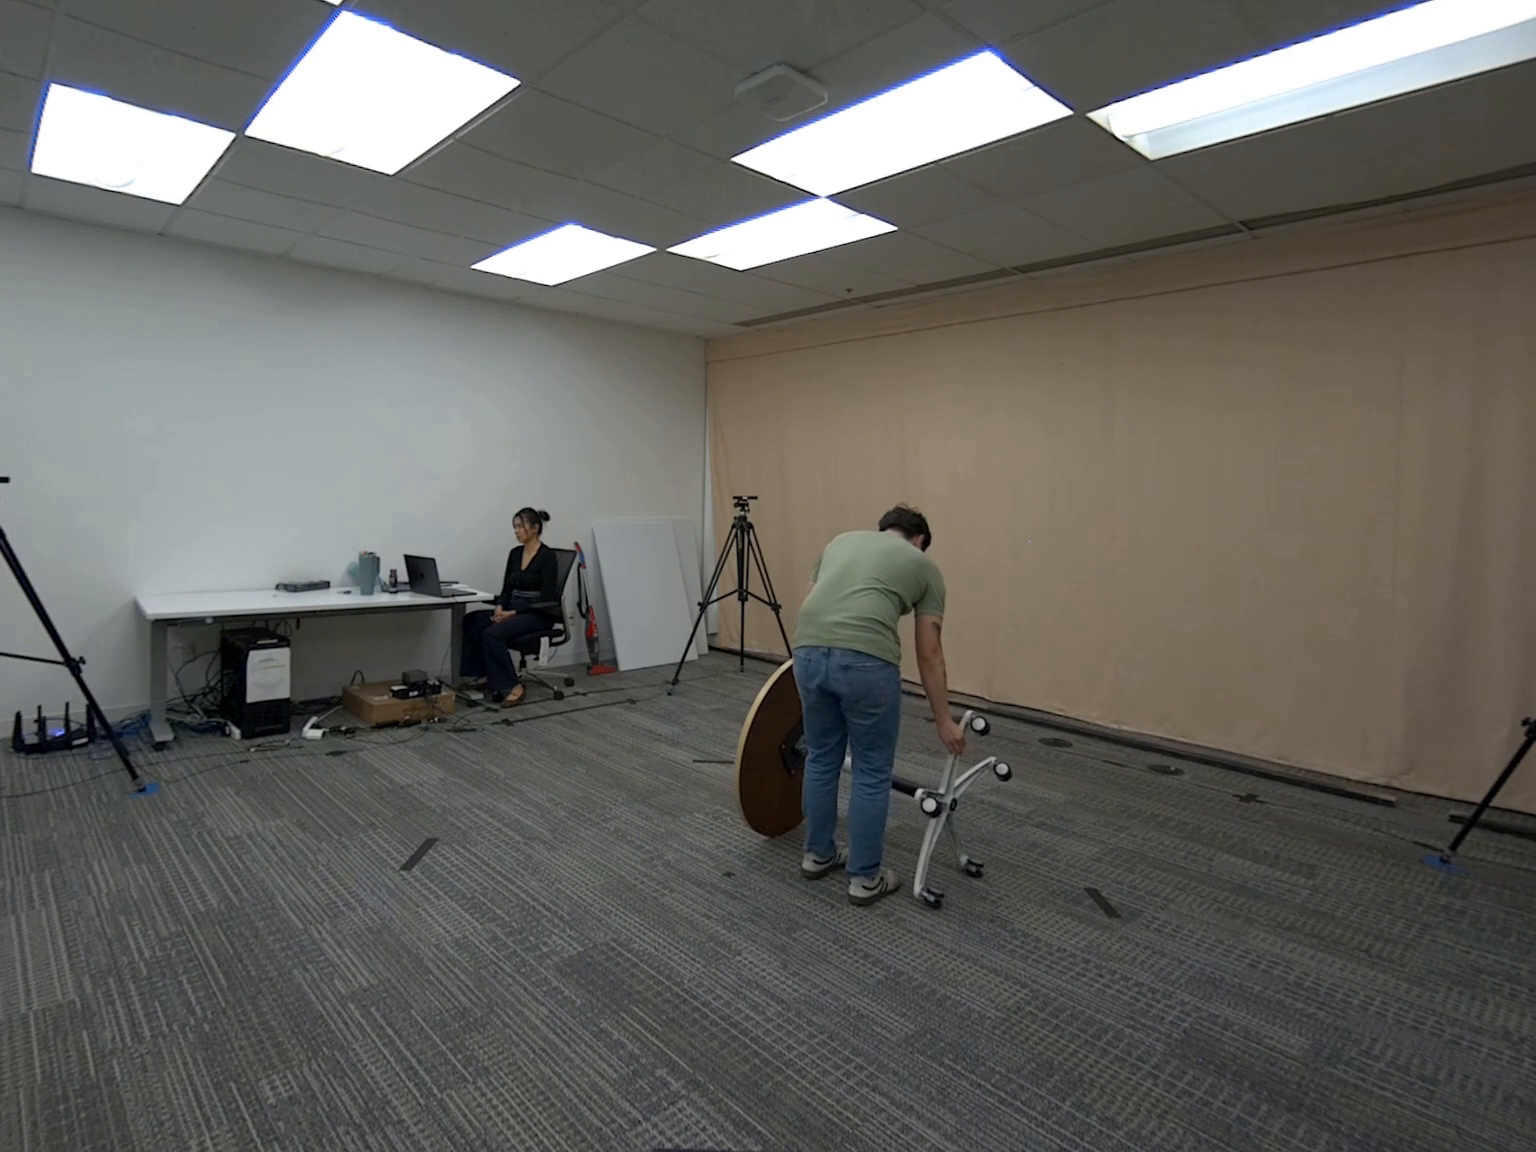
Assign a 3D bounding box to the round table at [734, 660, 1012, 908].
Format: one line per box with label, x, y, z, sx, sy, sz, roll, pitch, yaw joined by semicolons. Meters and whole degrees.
round table;0.414;0.774;3.239;0.816;0.760;0.747;14;11;37
